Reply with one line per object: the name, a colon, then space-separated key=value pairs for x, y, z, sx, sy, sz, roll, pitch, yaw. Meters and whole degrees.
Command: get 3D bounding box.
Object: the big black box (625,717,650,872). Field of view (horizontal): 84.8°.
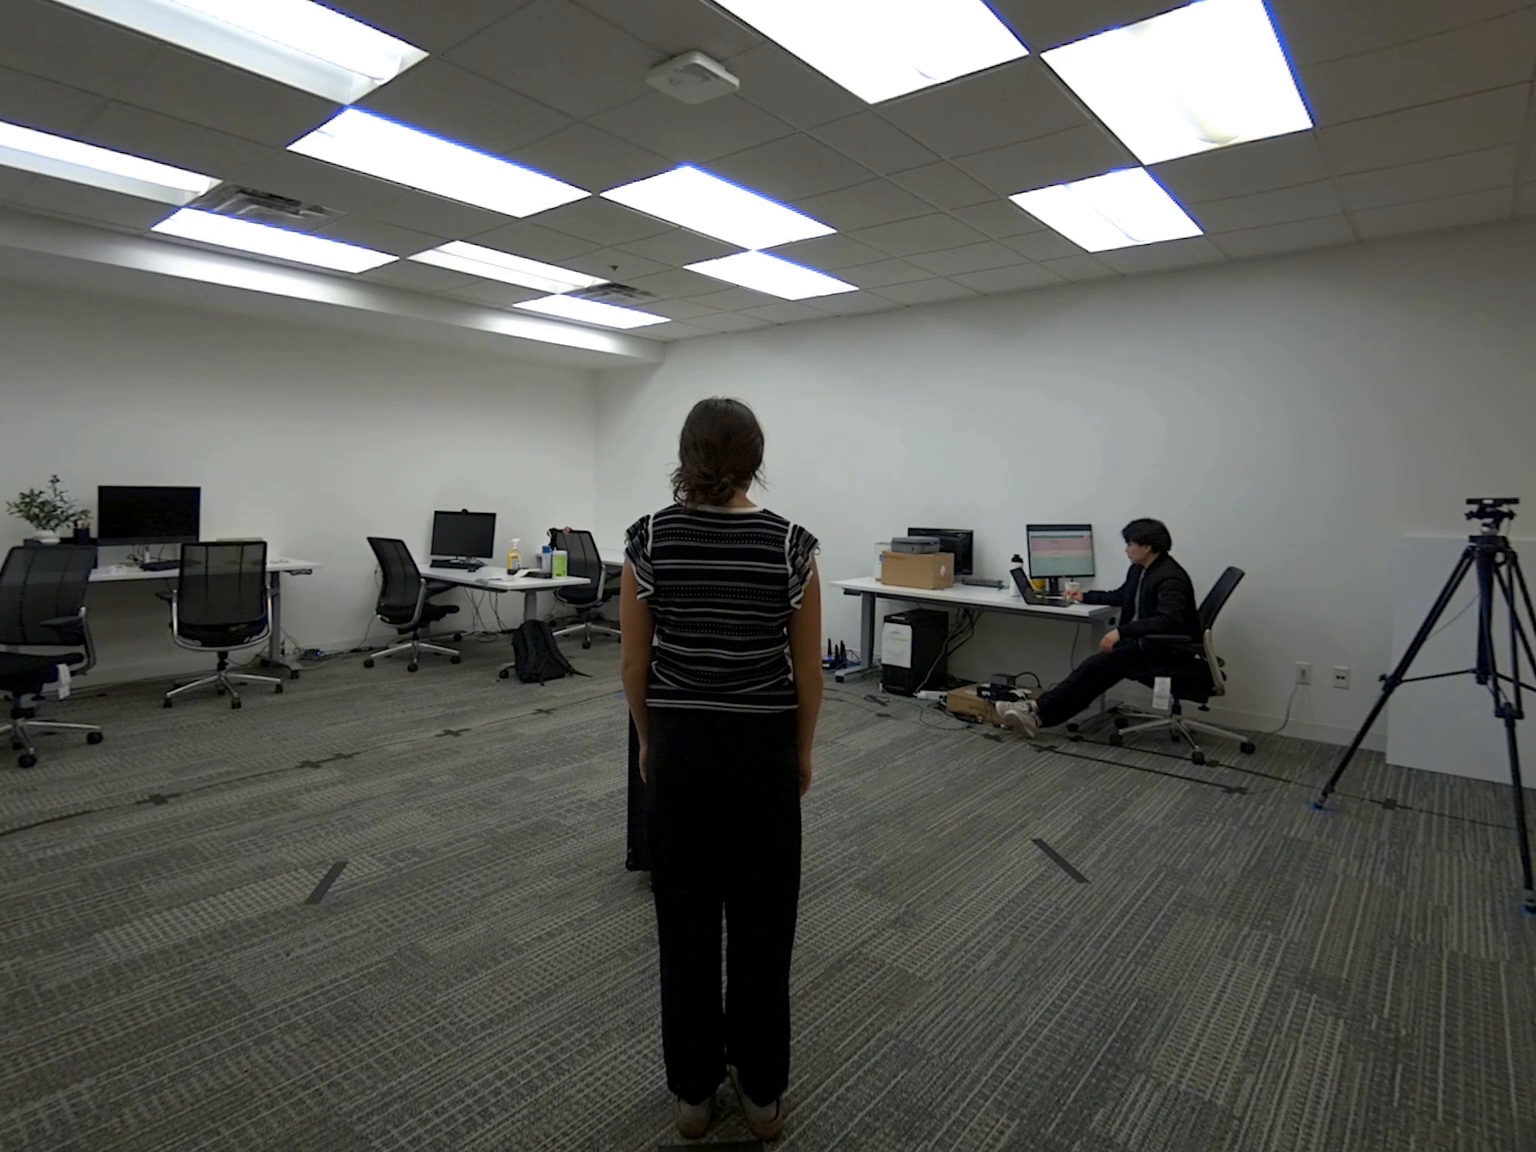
big black box: x=-0.239 y=0.642 z=3.045 sx=0.524 sy=0.859 sz=0.396 roll=2 pitch=3 yaw=3
